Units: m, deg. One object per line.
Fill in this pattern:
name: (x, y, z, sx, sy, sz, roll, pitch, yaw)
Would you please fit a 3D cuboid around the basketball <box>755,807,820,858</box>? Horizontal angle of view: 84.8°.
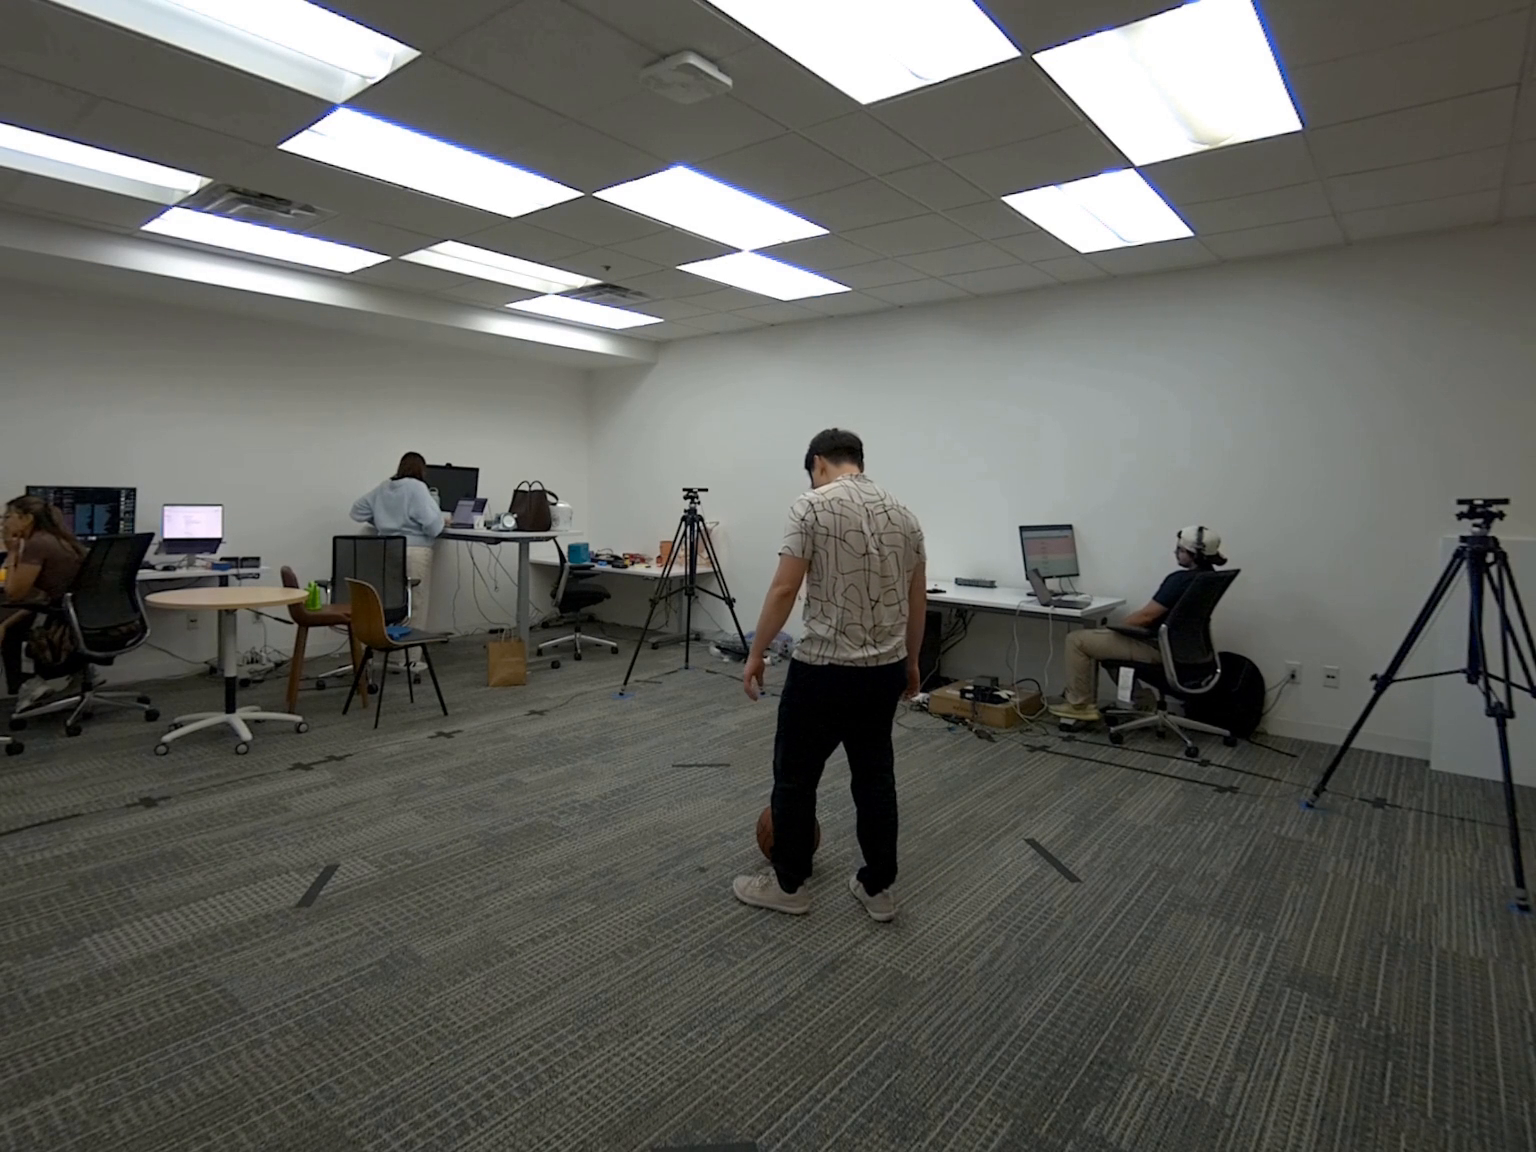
basketball: (0.068, 0.947, 3.161, 0.235, 0.235, 0.237, 1, 4, -2)
